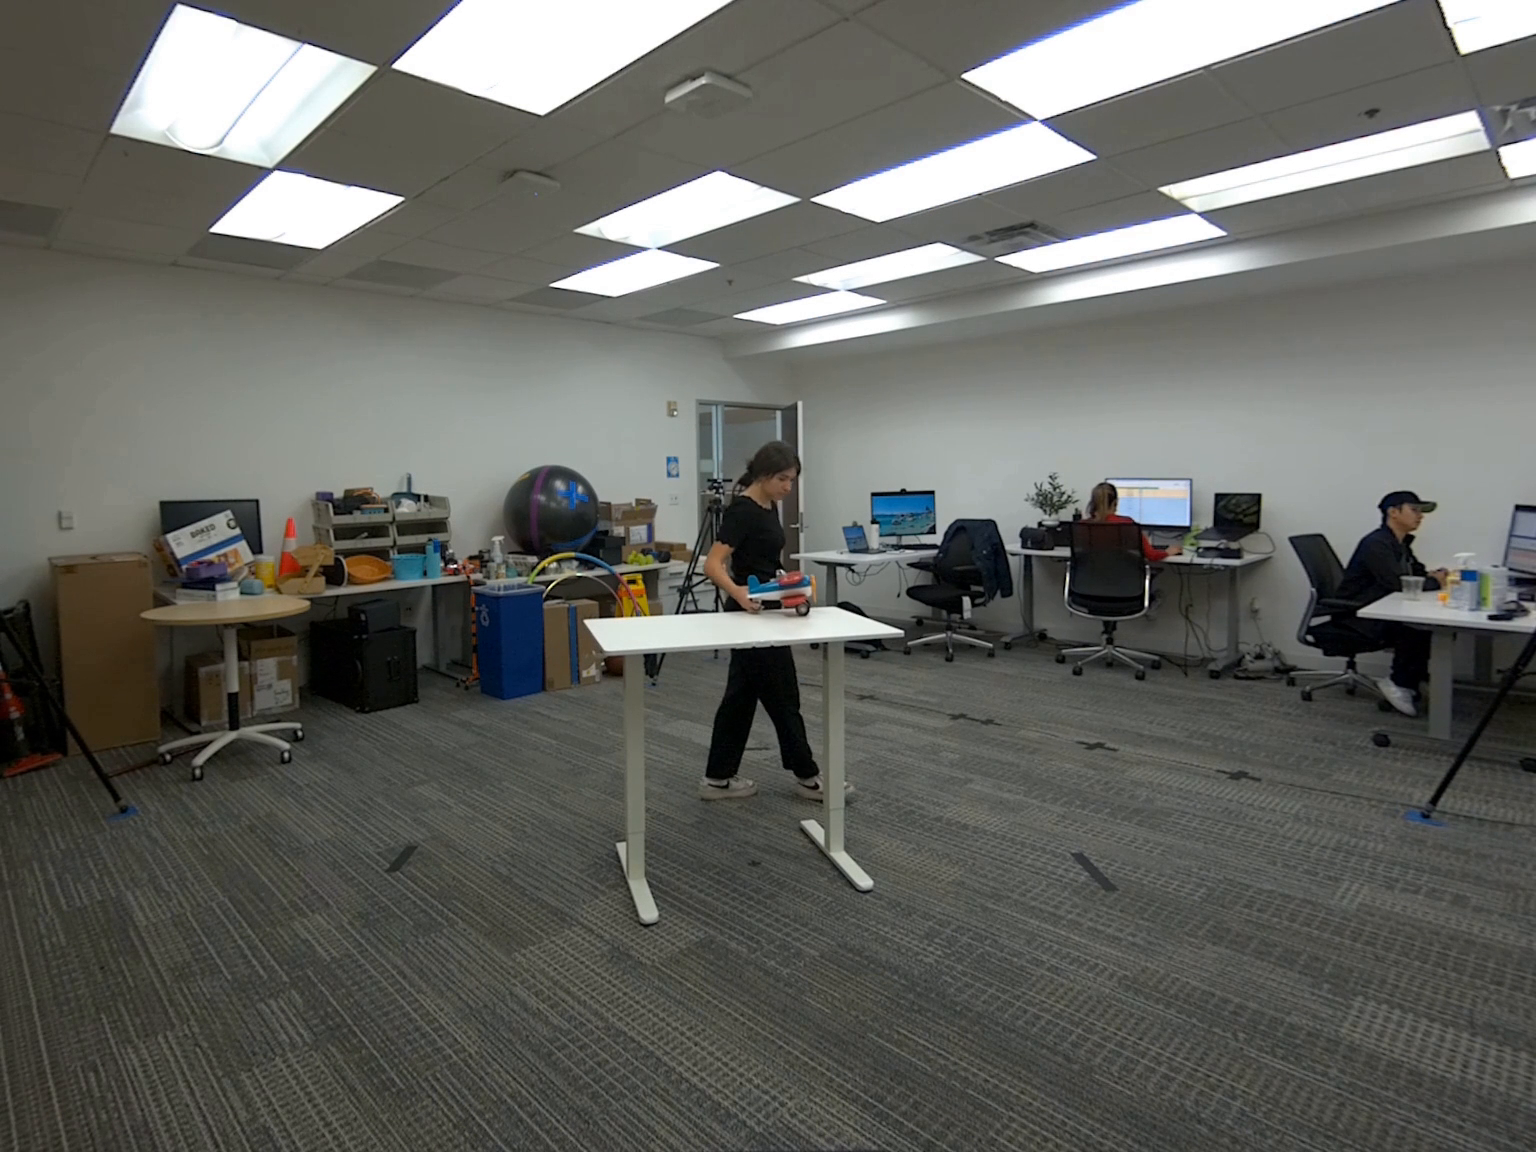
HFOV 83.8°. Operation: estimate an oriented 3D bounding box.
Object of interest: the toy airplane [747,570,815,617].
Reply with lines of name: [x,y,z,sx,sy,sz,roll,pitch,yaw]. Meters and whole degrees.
toy airplane: [0.054,0.063,3.225,0.254,0.156,0.257,3,7,-22]
